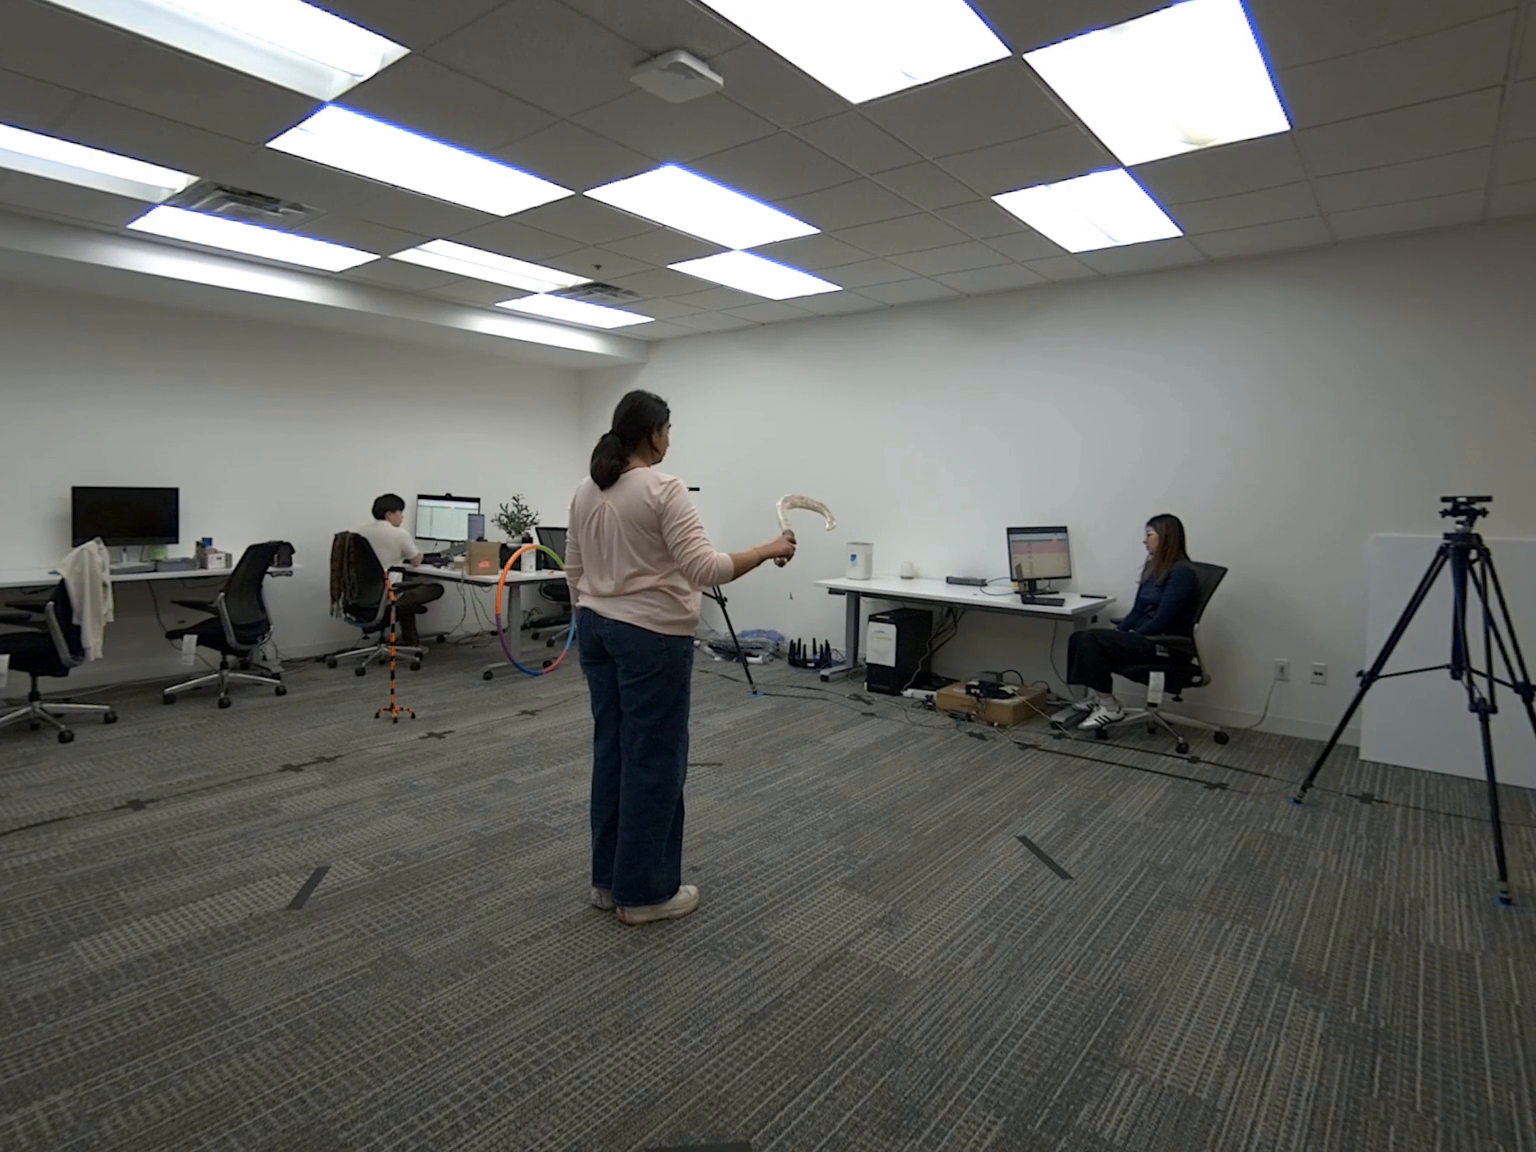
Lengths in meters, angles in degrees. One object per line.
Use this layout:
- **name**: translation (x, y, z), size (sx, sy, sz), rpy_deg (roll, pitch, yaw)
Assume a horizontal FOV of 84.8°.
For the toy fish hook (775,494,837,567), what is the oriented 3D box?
- **toy fish hook**: translation (0.113, -0.164, 2.933), size (0.226, 0.047, 0.515), rpy_deg (10, 33, 3)
